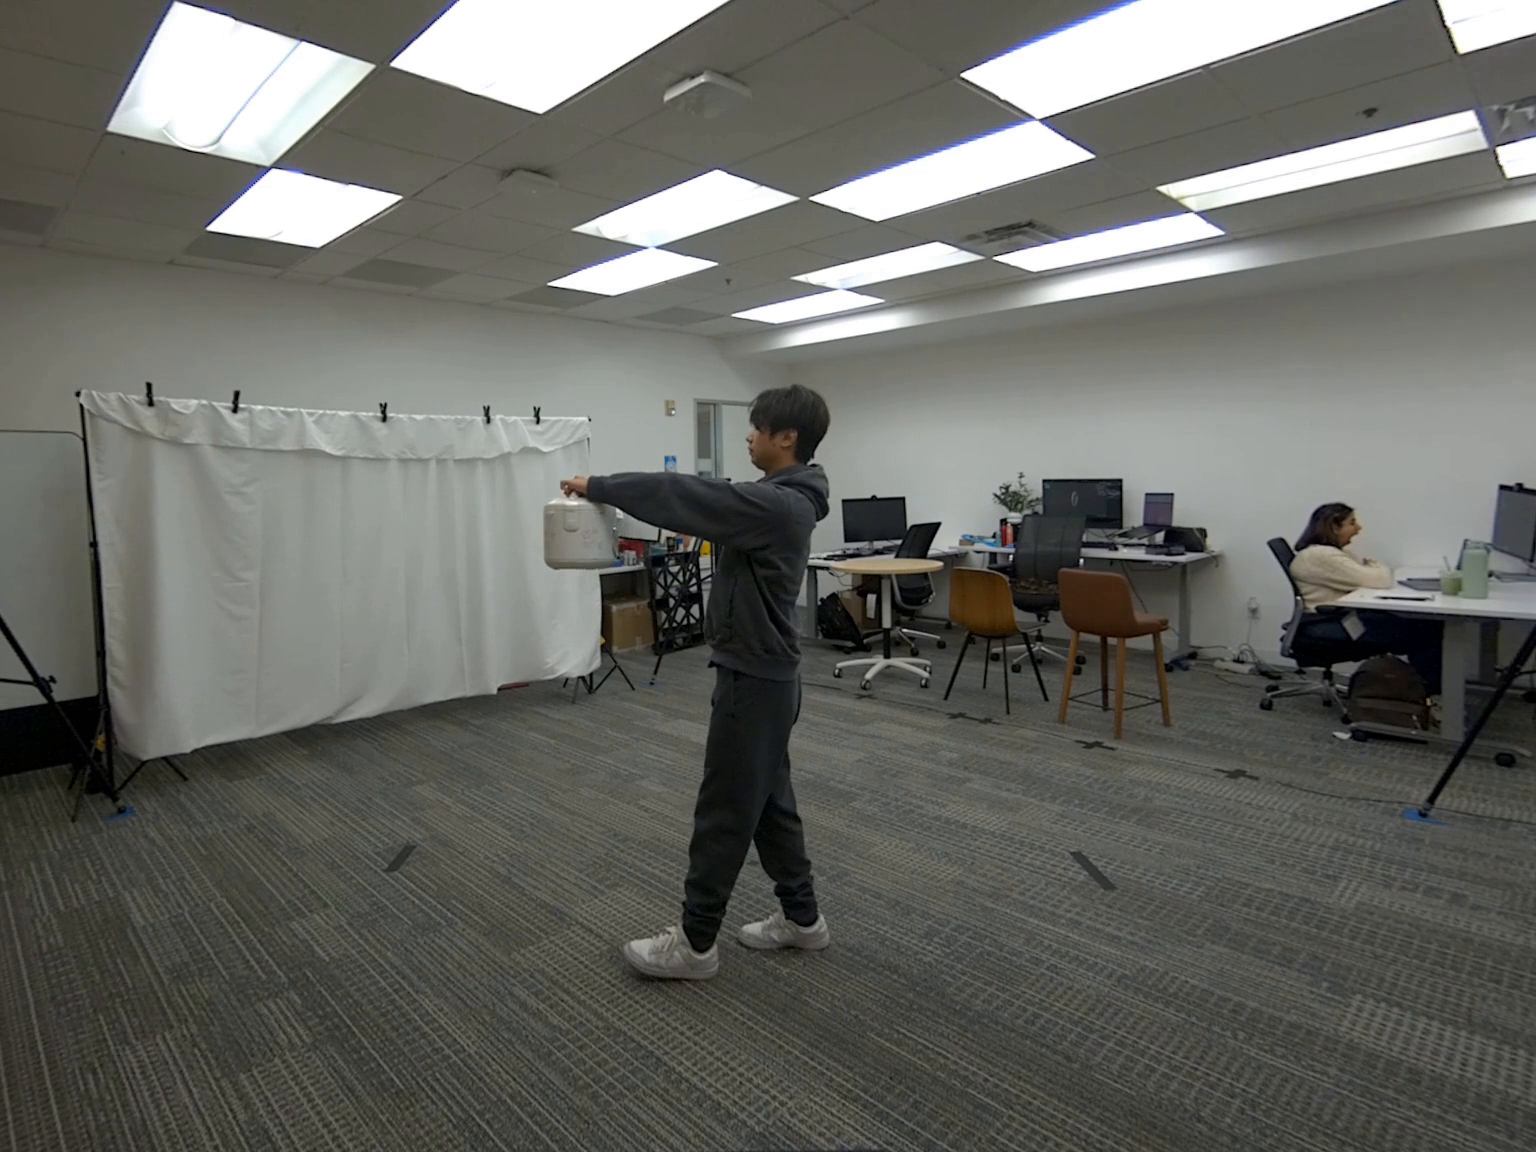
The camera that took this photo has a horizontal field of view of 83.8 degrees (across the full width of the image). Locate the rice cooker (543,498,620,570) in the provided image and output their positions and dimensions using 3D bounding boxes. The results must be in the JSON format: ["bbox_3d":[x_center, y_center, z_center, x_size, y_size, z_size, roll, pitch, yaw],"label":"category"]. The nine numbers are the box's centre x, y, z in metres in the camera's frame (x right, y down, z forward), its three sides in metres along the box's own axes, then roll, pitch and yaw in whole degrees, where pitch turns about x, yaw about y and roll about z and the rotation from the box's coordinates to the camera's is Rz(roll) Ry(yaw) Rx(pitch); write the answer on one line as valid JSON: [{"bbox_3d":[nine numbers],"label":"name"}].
[{"bbox_3d":[-0.541,-0.137,2.498,0.218,0.233,0.220,0,1,3],"label":"rice cooker"}]
